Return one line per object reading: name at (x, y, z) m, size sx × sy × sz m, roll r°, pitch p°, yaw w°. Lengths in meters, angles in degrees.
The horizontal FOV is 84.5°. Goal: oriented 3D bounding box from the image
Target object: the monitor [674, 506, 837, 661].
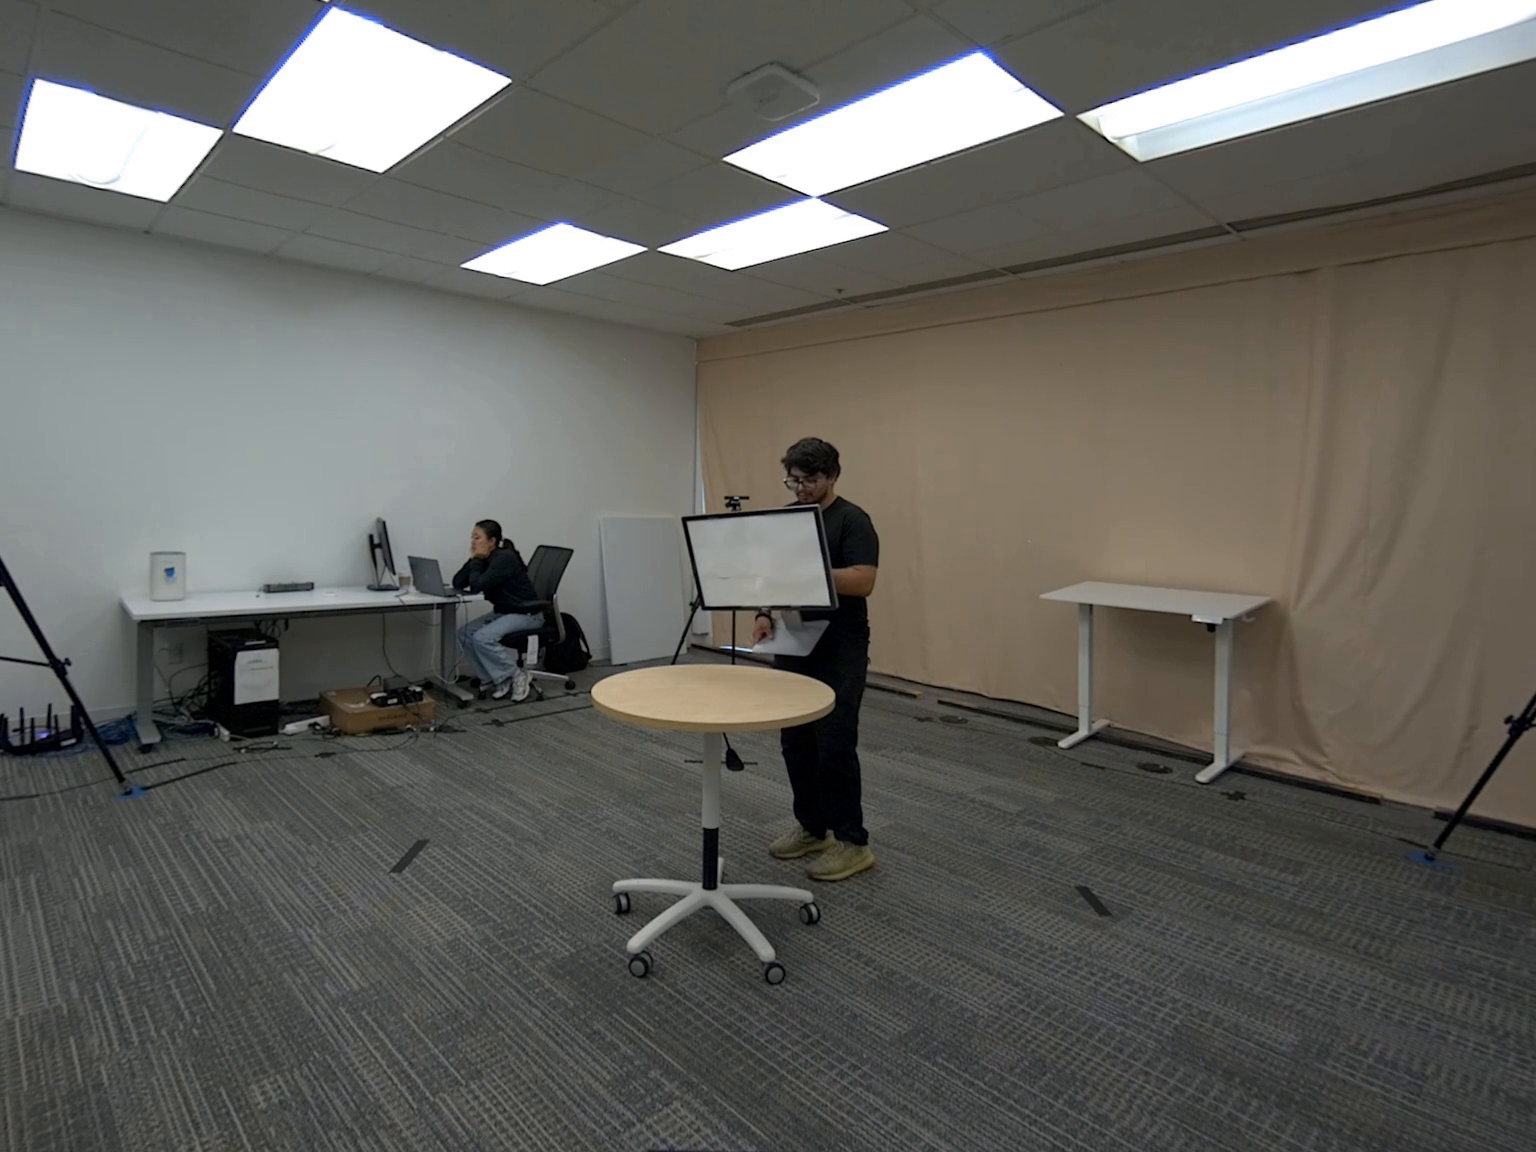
monitor at (0.005, -0.003, 3.031) m, size 0.577 × 0.545 × 0.209 m, roll -2°, pitch 22°, yaw 34°
